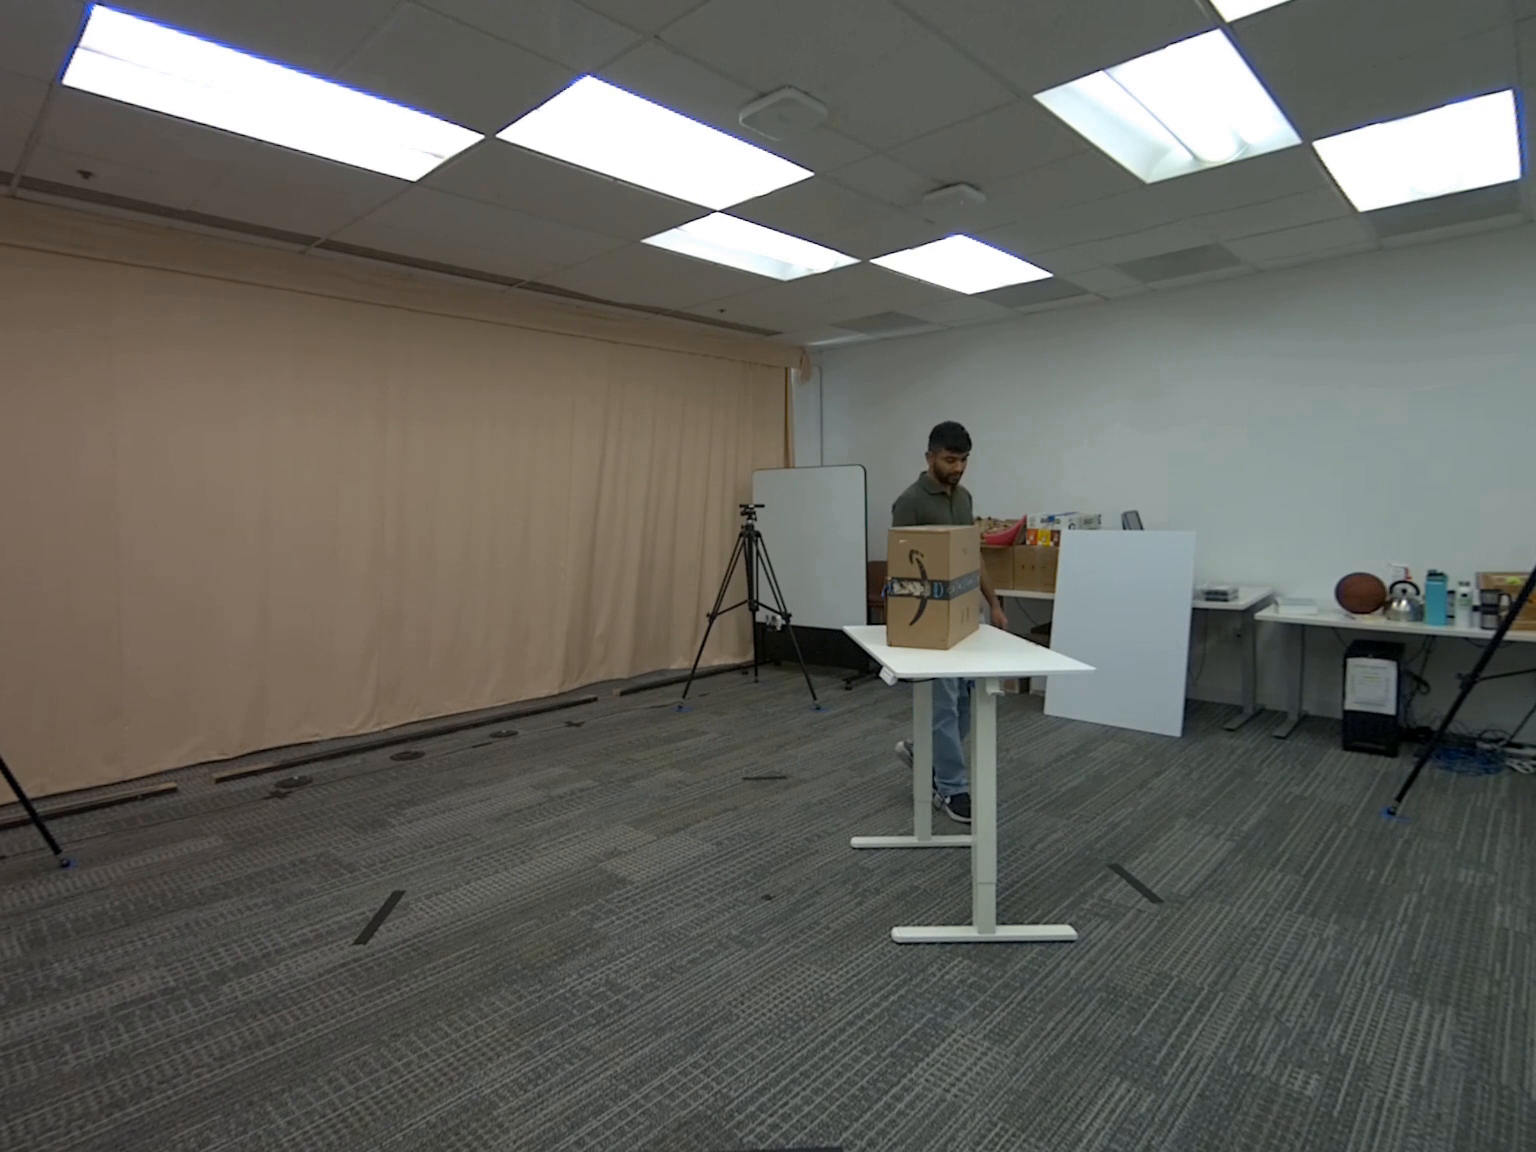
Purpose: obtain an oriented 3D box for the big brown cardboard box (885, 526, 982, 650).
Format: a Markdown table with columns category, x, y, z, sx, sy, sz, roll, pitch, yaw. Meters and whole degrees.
| category | x | y | z | sx | sy | sz | roll | pitch | yaw |
| --- | --- | --- | --- | --- | --- | --- | --- | --- | --- |
| big brown cardboard box | 0.636 | 0.028 | 3.154 | 0.239 | 0.417 | 0.574 | 2 | 4 | 26 |
